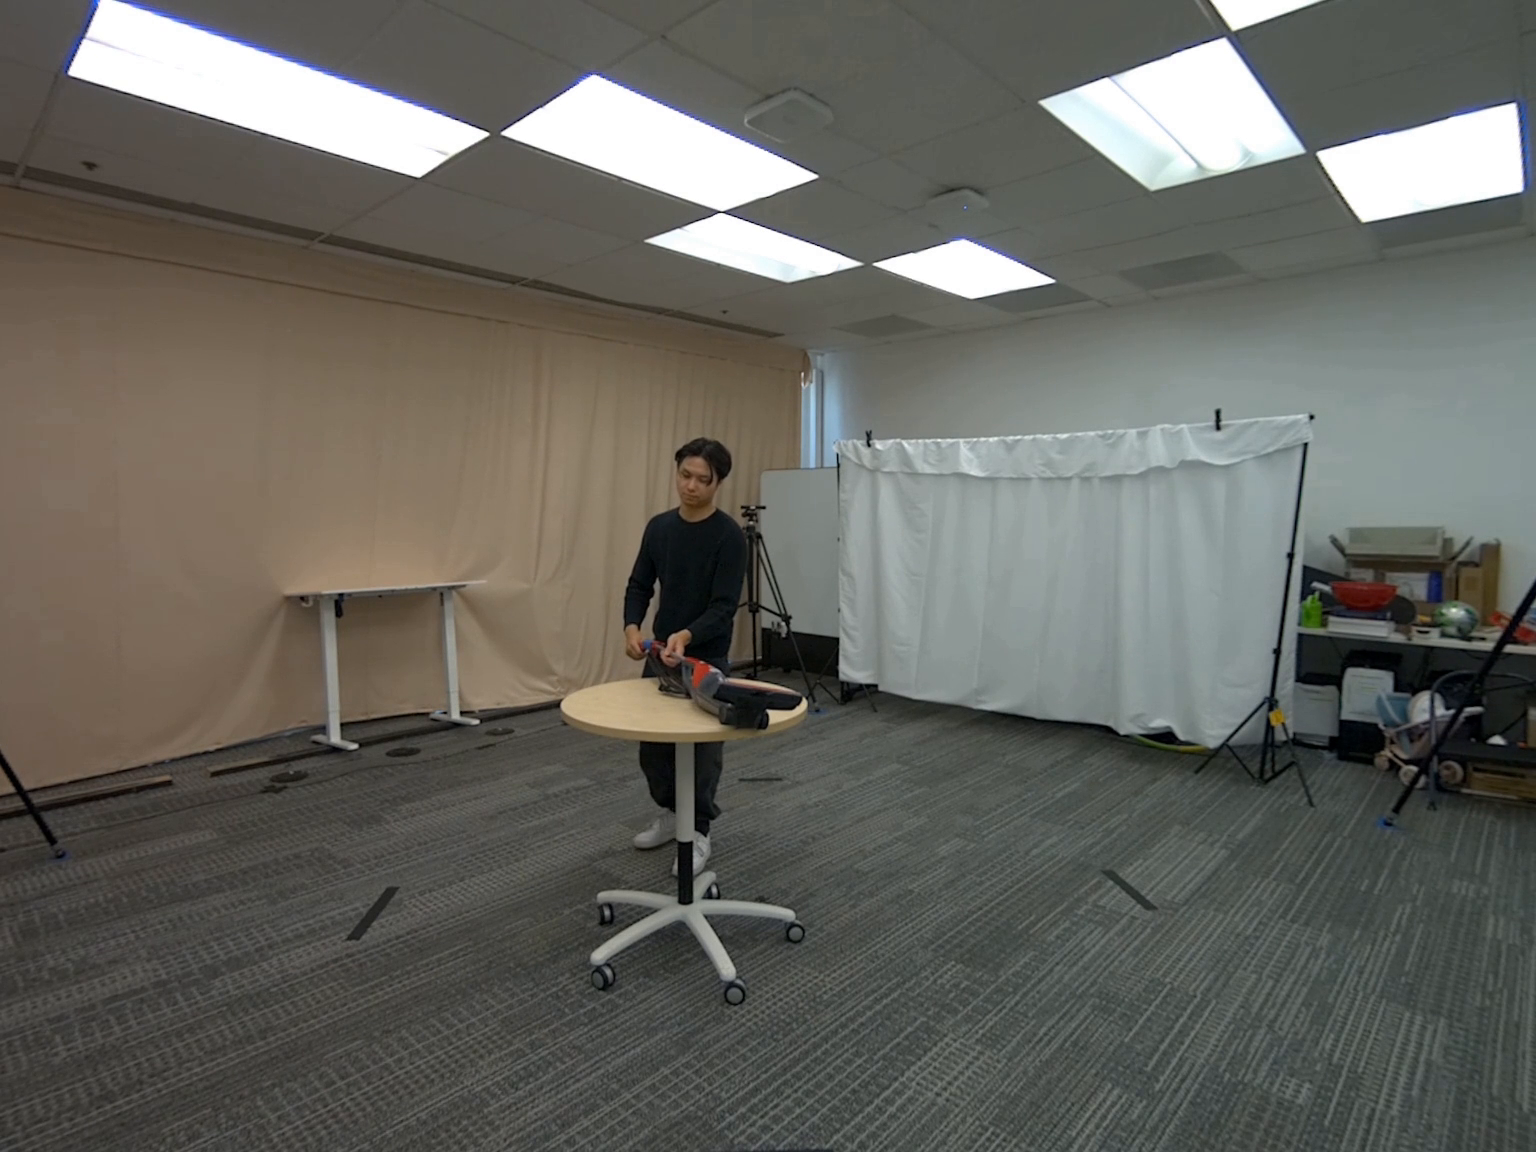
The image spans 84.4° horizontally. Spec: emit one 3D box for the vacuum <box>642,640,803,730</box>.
[{"bbox_3d":[-0.256,0.330,2.729,0.246,0.144,1.076,15,-3,-25],"label":"vacuum"}]
